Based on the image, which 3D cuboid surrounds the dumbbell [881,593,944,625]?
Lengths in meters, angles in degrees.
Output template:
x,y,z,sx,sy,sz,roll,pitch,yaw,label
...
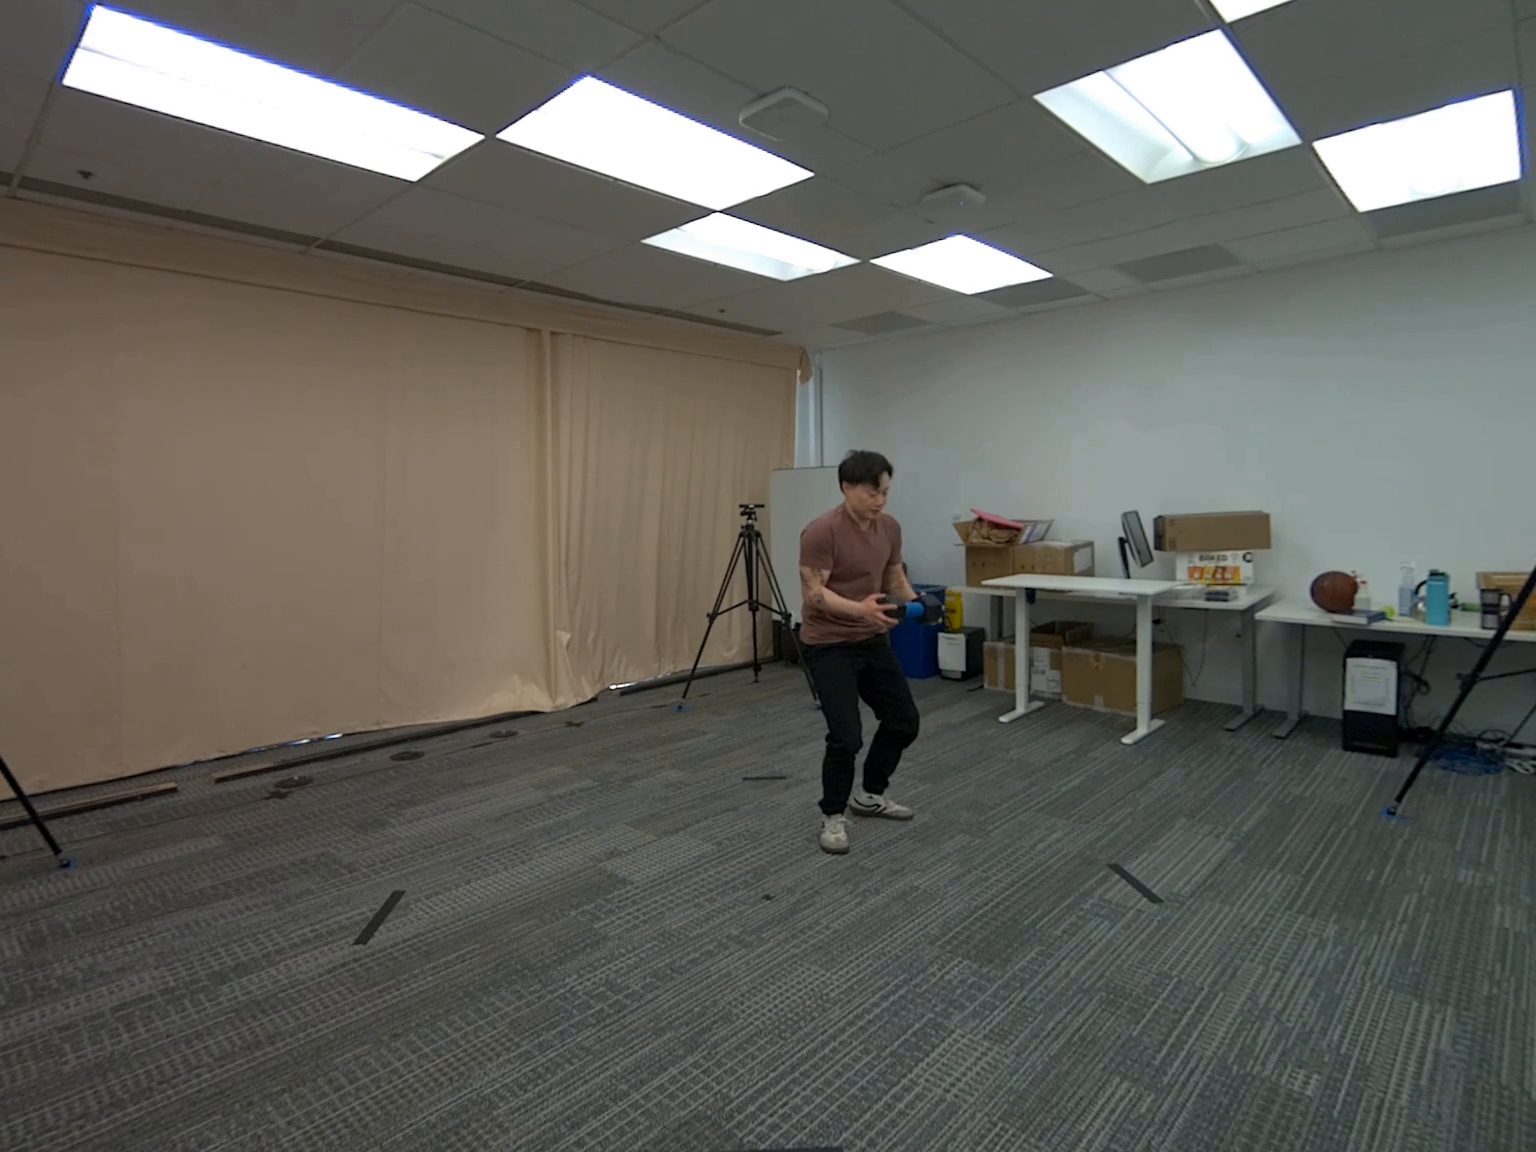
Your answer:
x,y,z,sx,sy,sz,roll,pitch,yaw,label
0.539,0.130,3.283,0.285,0.122,0.112,-1,10,-33,dumbbell
